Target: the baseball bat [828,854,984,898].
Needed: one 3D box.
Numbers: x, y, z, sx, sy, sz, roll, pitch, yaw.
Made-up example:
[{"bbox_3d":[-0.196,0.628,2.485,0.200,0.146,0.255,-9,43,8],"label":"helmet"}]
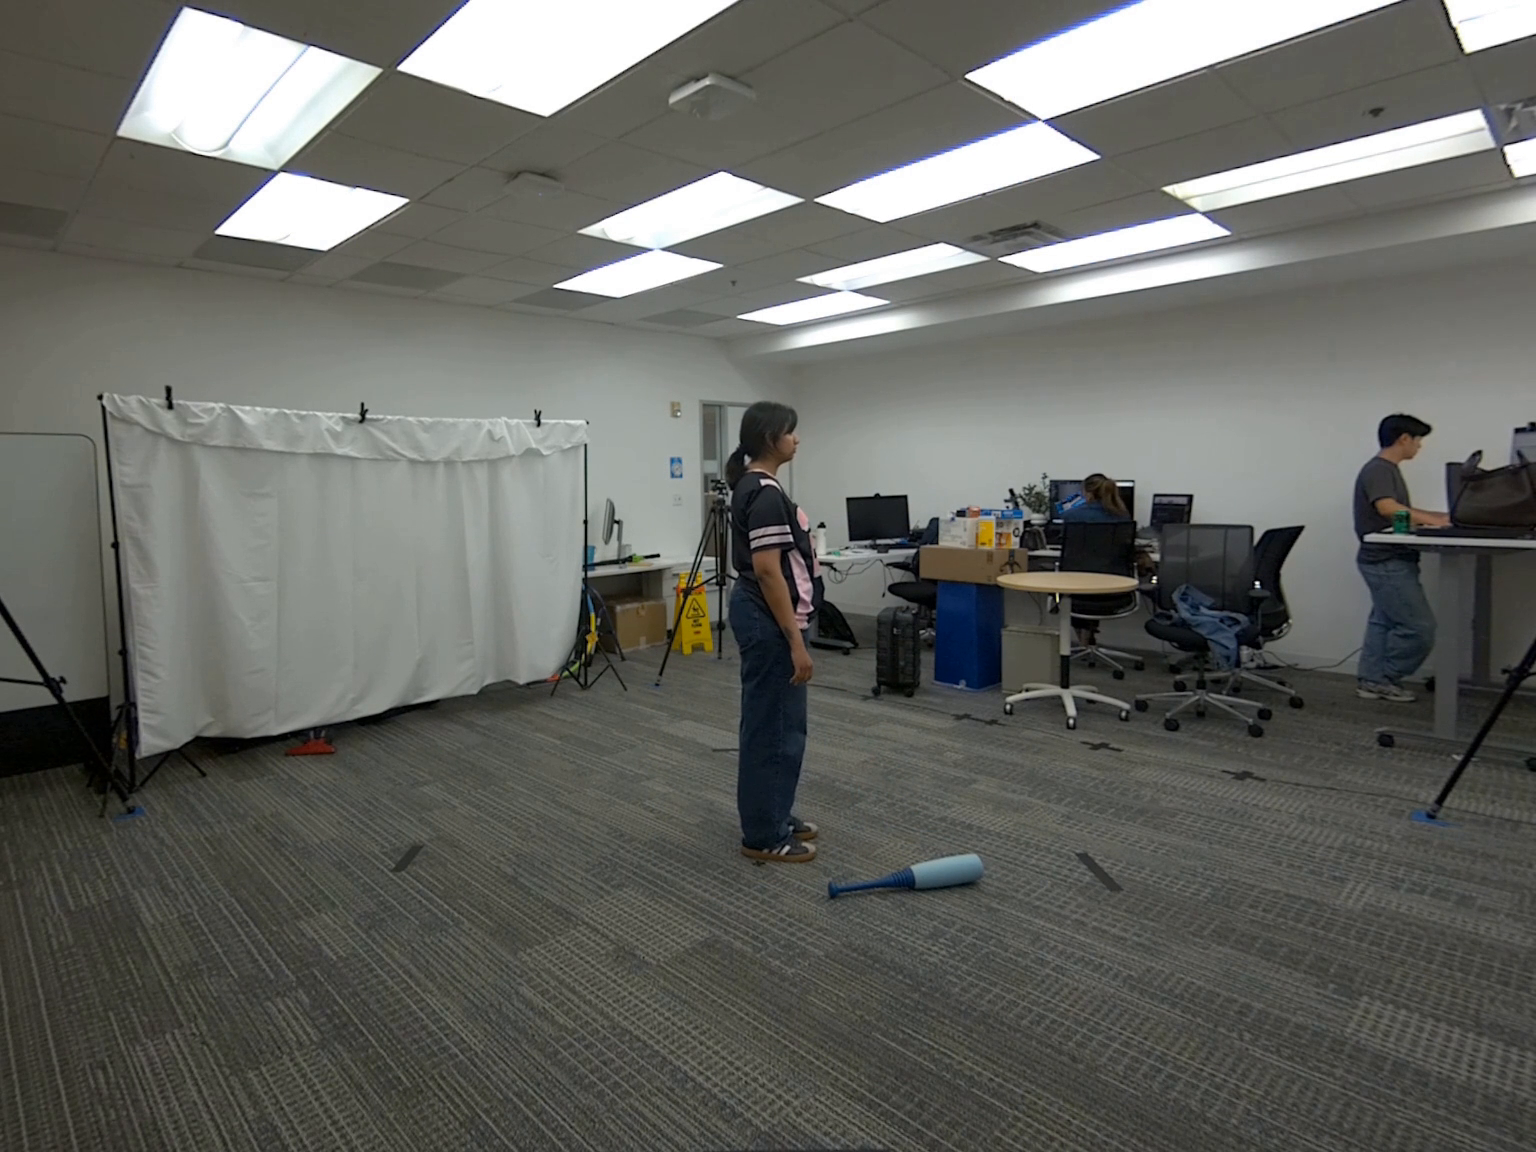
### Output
[{"bbox_3d":[0.473,1.029,2.888,0.538,0.088,0.090,-6,6,-9],"label":"baseball bat"}]
